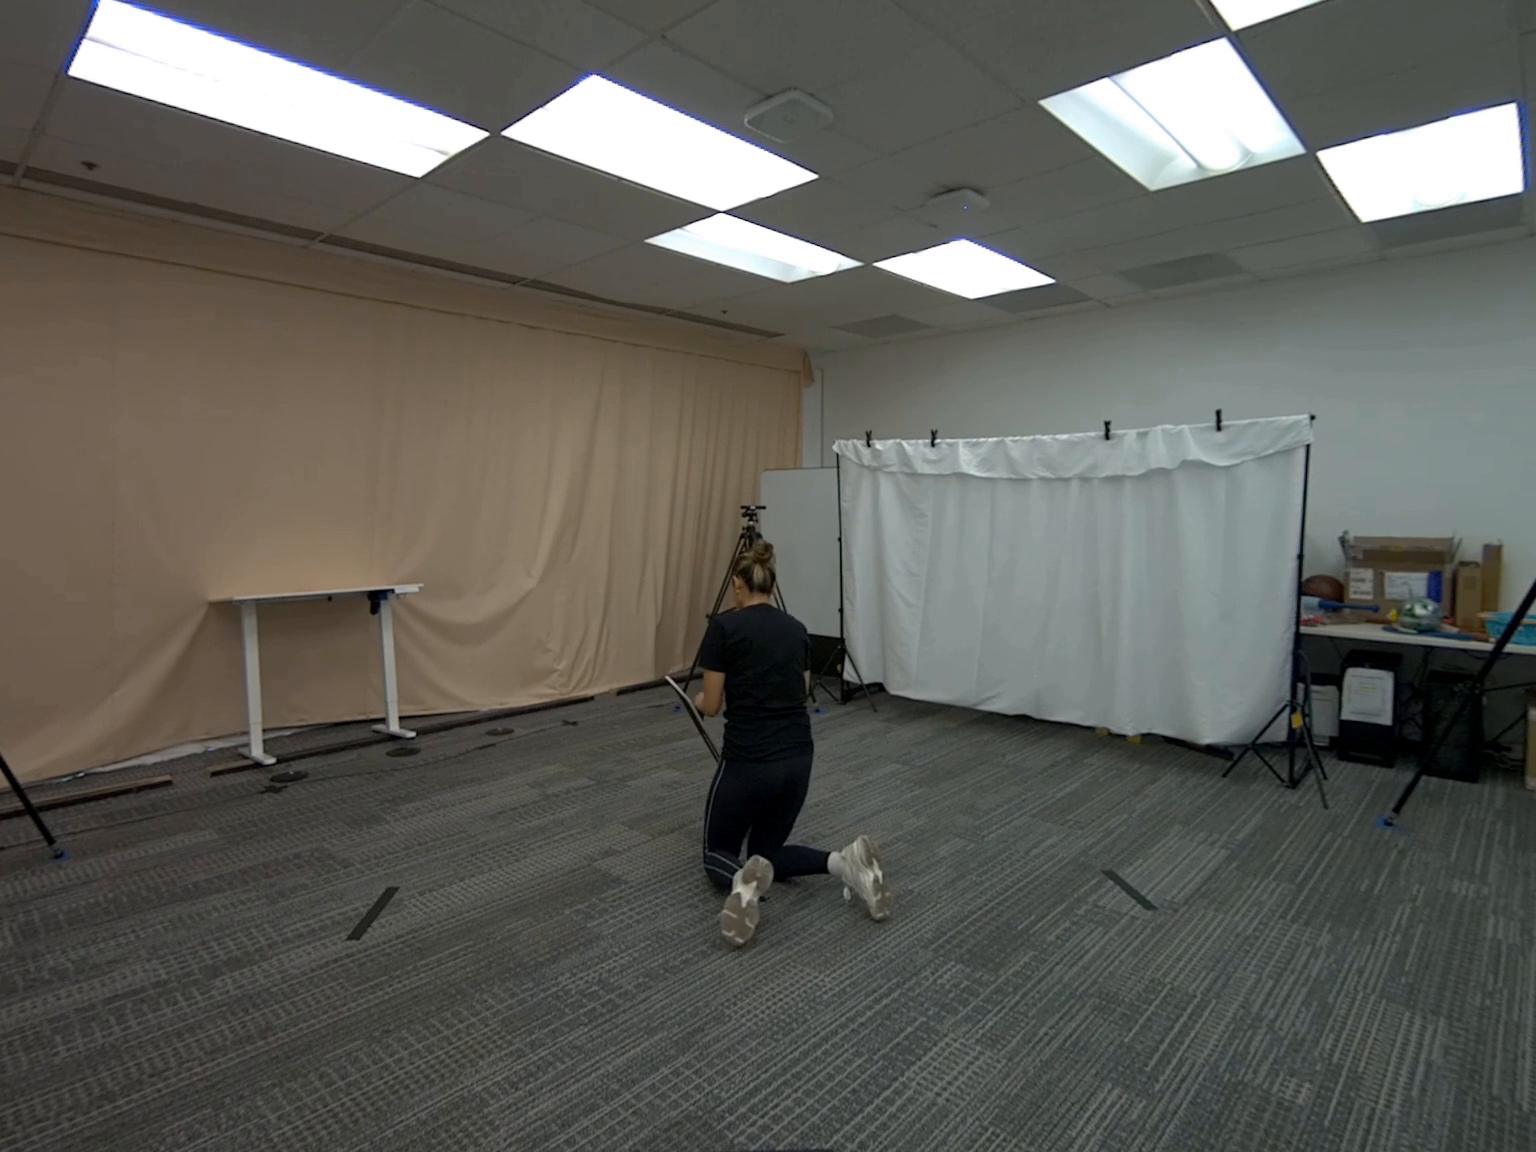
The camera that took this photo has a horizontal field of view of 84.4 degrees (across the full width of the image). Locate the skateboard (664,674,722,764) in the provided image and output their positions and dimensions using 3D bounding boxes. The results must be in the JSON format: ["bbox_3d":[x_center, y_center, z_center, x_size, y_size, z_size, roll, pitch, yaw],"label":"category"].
[{"bbox_3d":[-0.204,0.725,3.549,0.109,0.777,0.197,-32,10,-14],"label":"skateboard"}]
